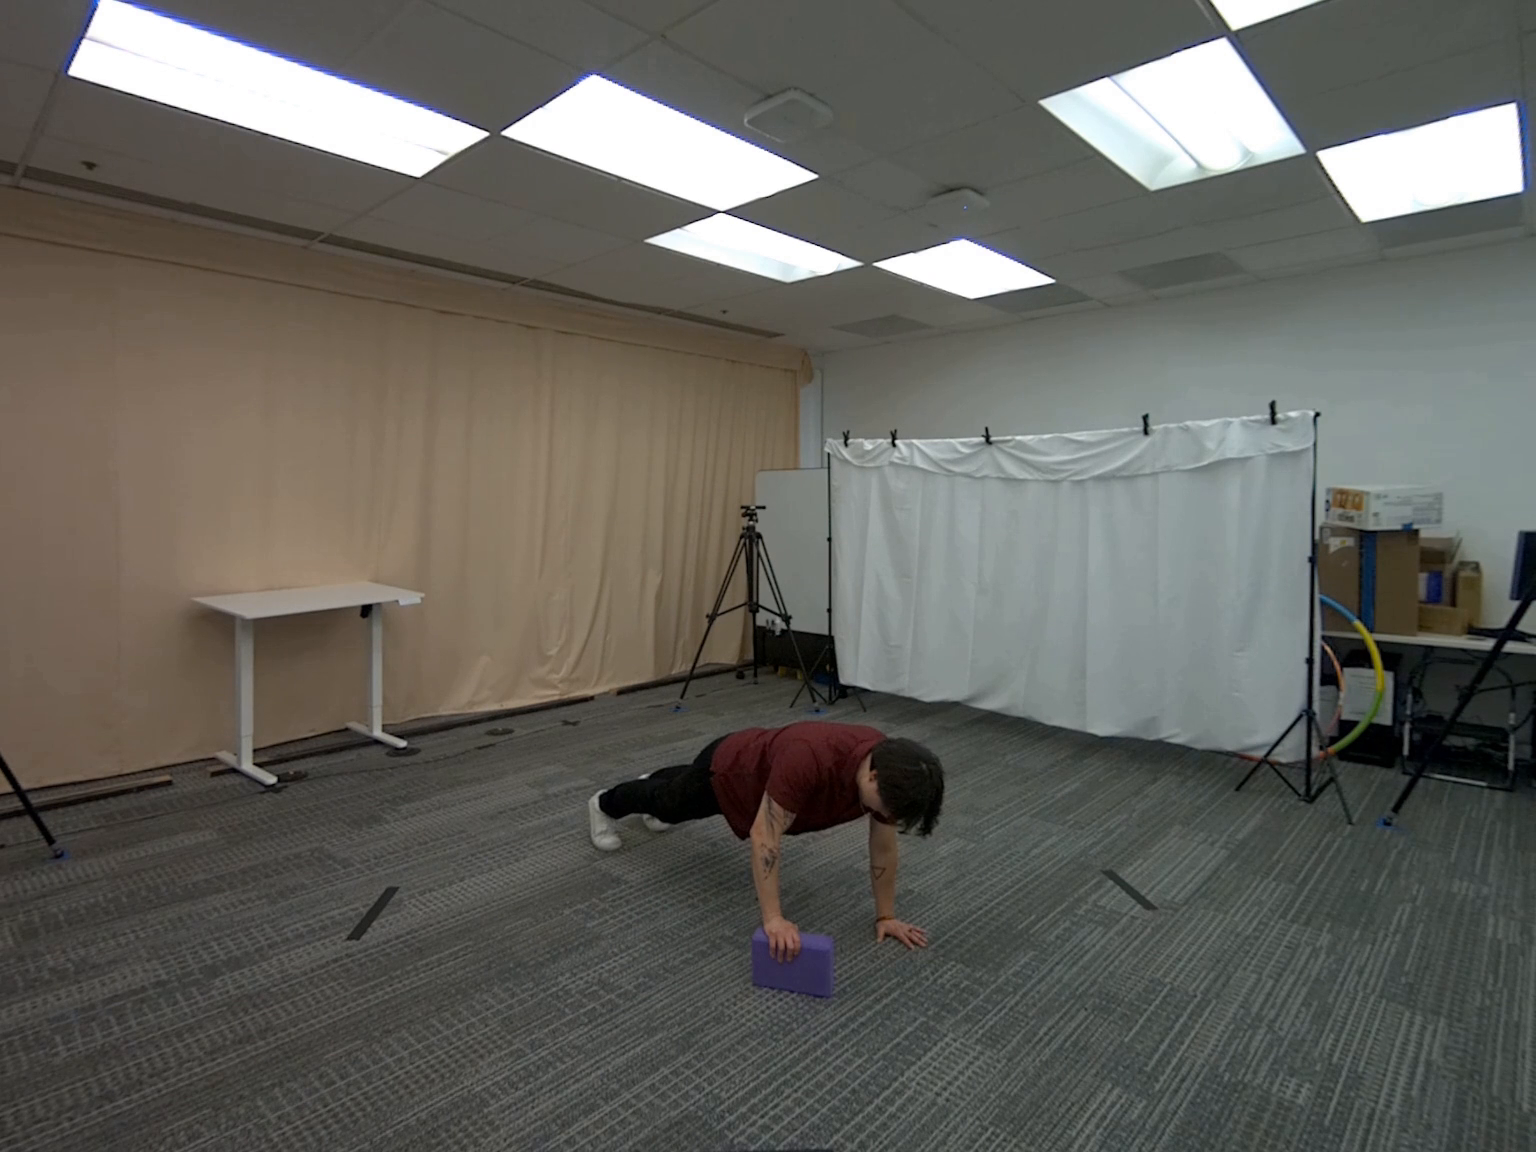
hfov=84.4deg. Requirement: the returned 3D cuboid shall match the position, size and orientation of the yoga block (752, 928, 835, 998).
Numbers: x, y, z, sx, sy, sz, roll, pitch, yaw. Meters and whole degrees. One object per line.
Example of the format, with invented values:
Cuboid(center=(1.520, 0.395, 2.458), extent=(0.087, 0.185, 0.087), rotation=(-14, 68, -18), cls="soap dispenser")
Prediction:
Cuboid(center=(0.077, 1.113, 2.441), extent=(0.233, 0.149, 0.075), rotation=(0, 3, 18), cls="yoga block")
